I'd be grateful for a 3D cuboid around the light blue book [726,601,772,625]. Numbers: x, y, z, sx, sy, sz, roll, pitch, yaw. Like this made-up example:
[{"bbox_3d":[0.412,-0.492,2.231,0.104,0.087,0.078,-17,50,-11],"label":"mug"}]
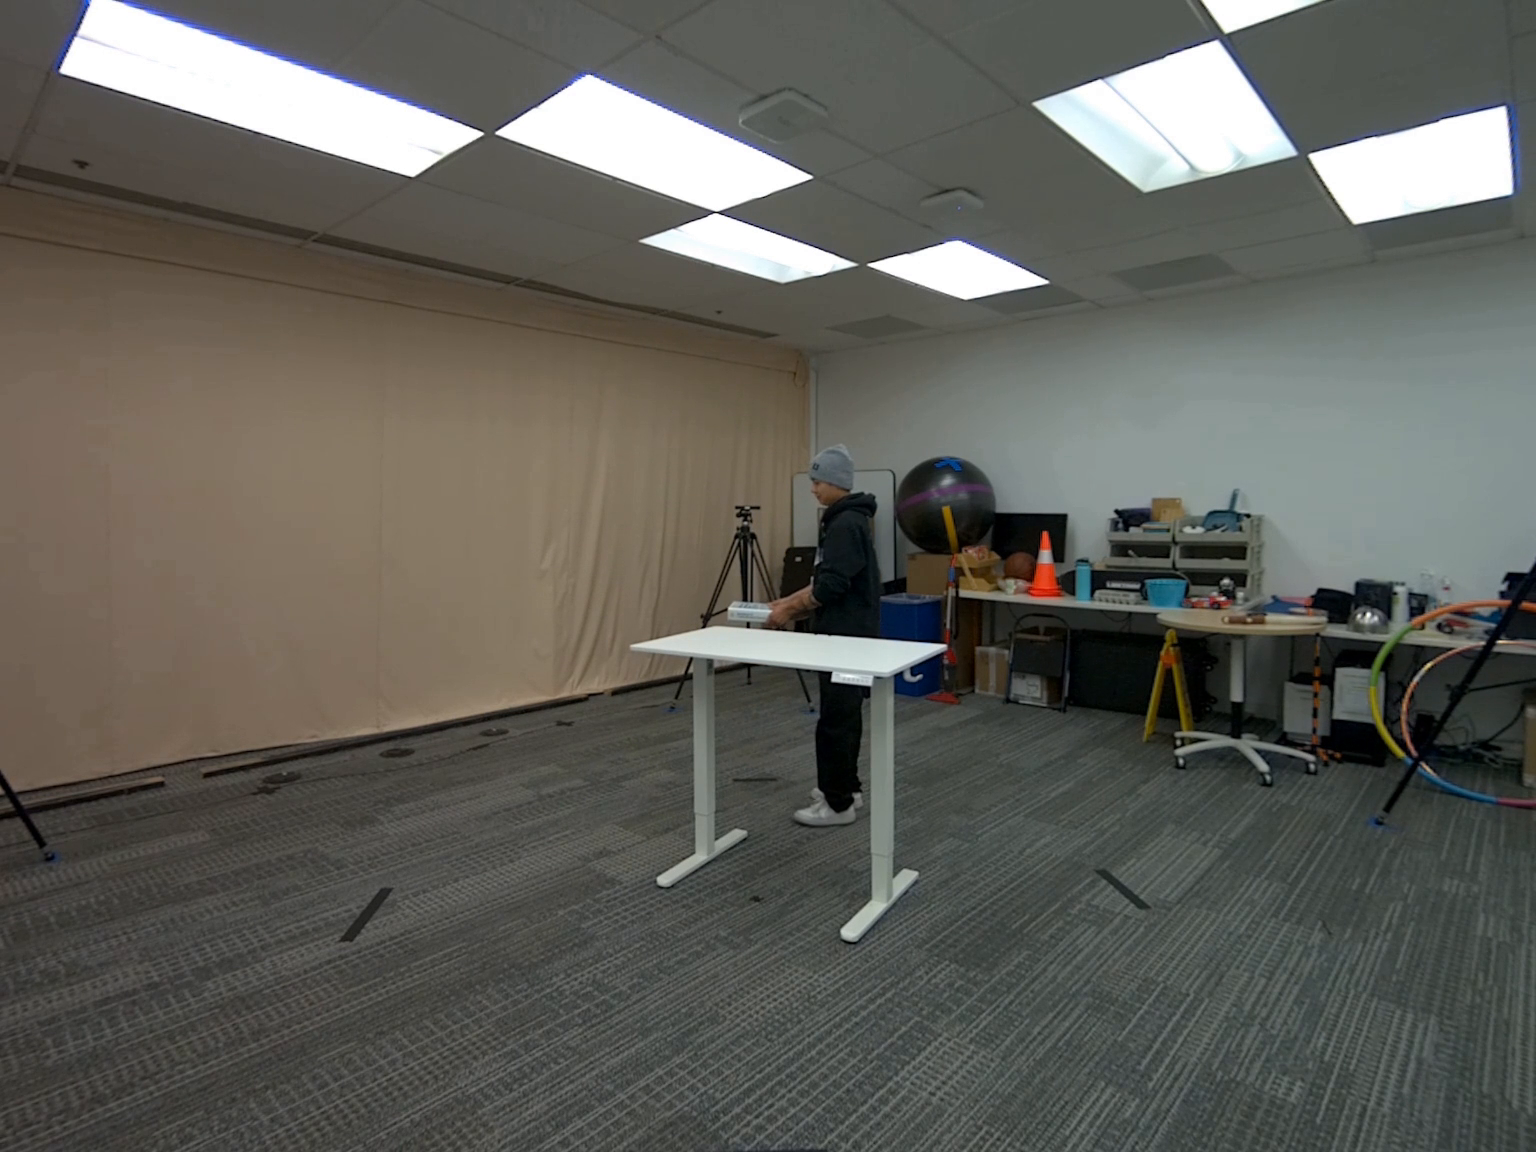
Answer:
[{"bbox_3d":[-0.043,0.172,3.942,0.264,0.059,0.190,3,9,9],"label":"light blue book"}]
